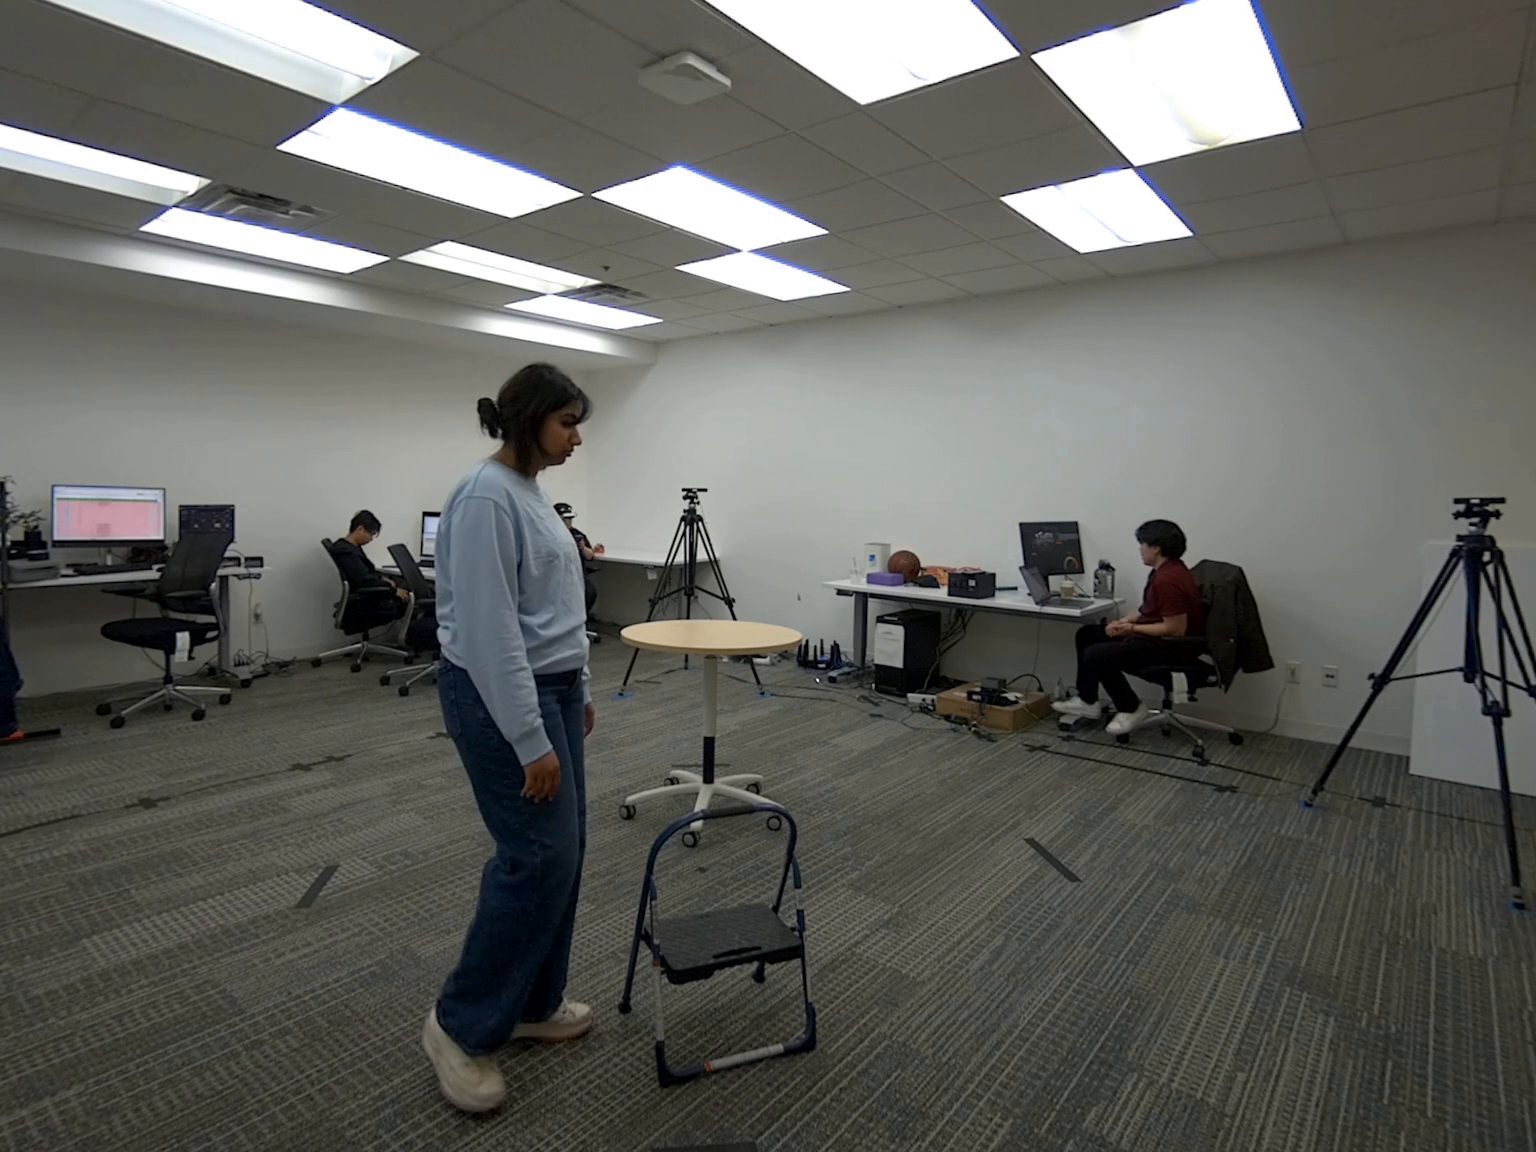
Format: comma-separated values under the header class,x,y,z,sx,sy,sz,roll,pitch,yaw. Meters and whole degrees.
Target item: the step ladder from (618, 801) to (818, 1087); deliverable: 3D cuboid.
class,x,y,z,sx,sy,sz,roll,pitch,yaw
step ladder,-0.139,0.861,2.189,0.421,0.604,0.359,-2,5,-25
